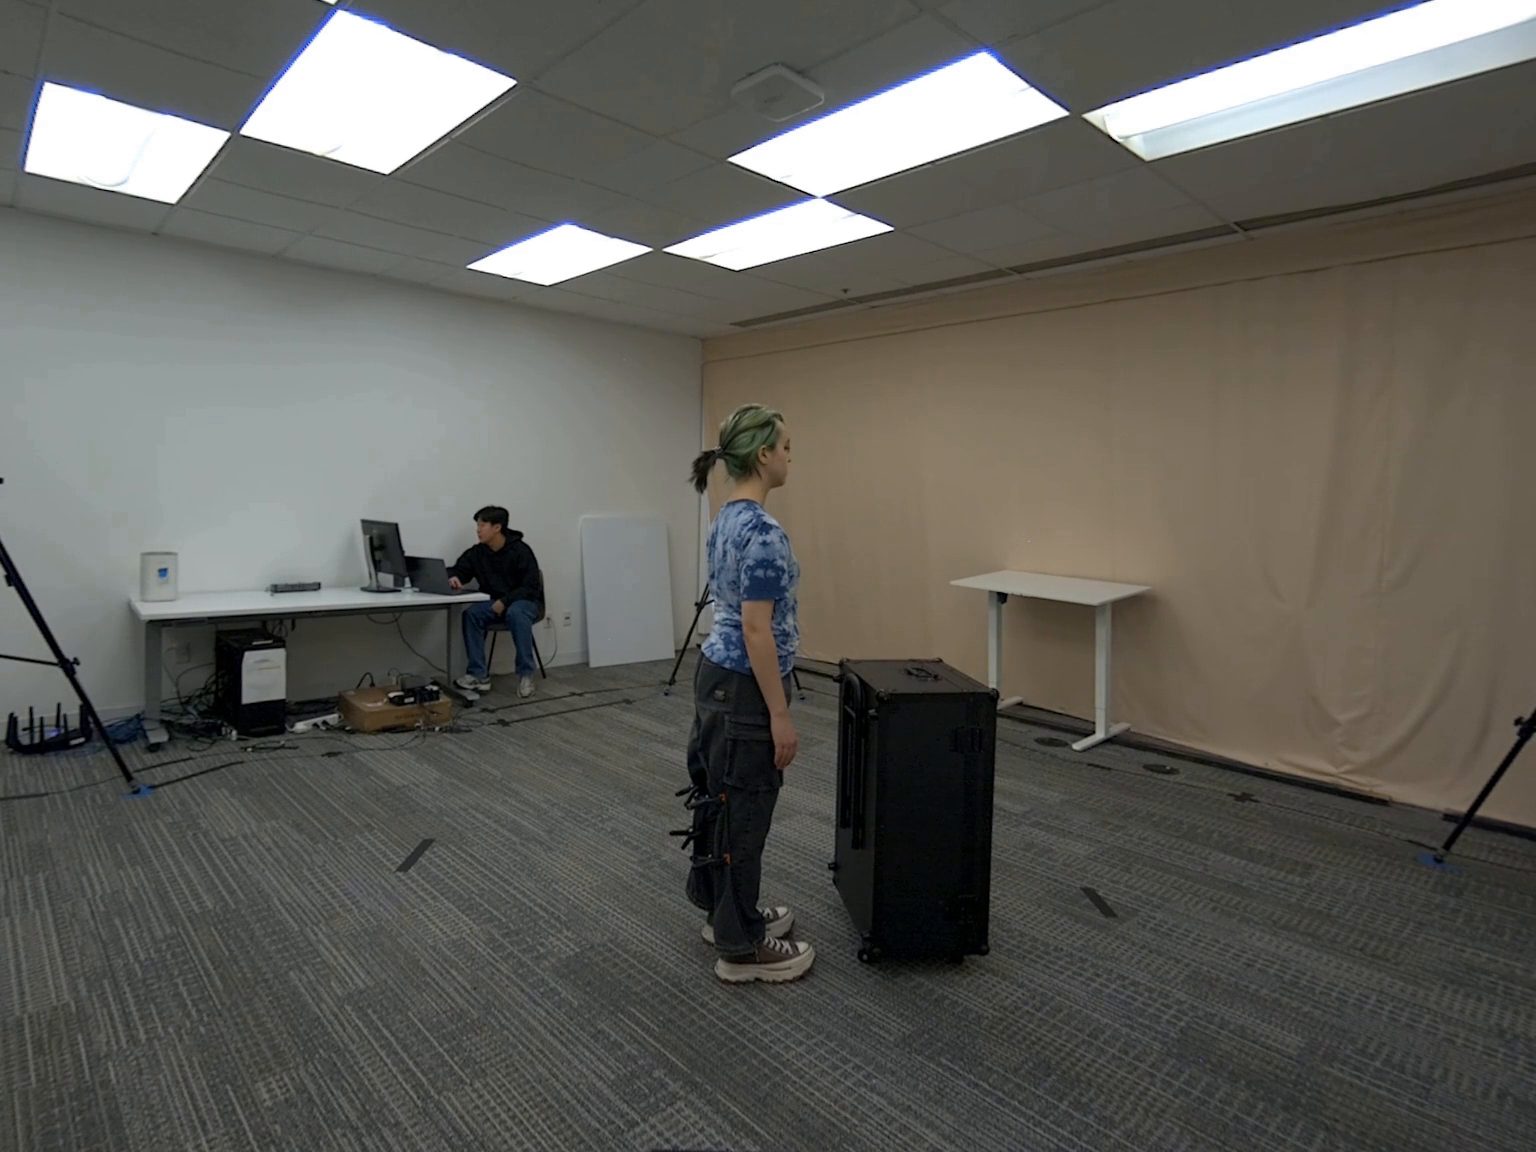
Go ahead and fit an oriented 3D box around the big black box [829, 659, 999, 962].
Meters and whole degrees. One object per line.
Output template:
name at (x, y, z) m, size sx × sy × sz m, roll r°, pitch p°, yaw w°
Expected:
big black box at (0.435, 0.735, 2.660) m, size 0.394 × 0.858 × 0.525 m, roll 0°, pitch 5°, yaw -7°
